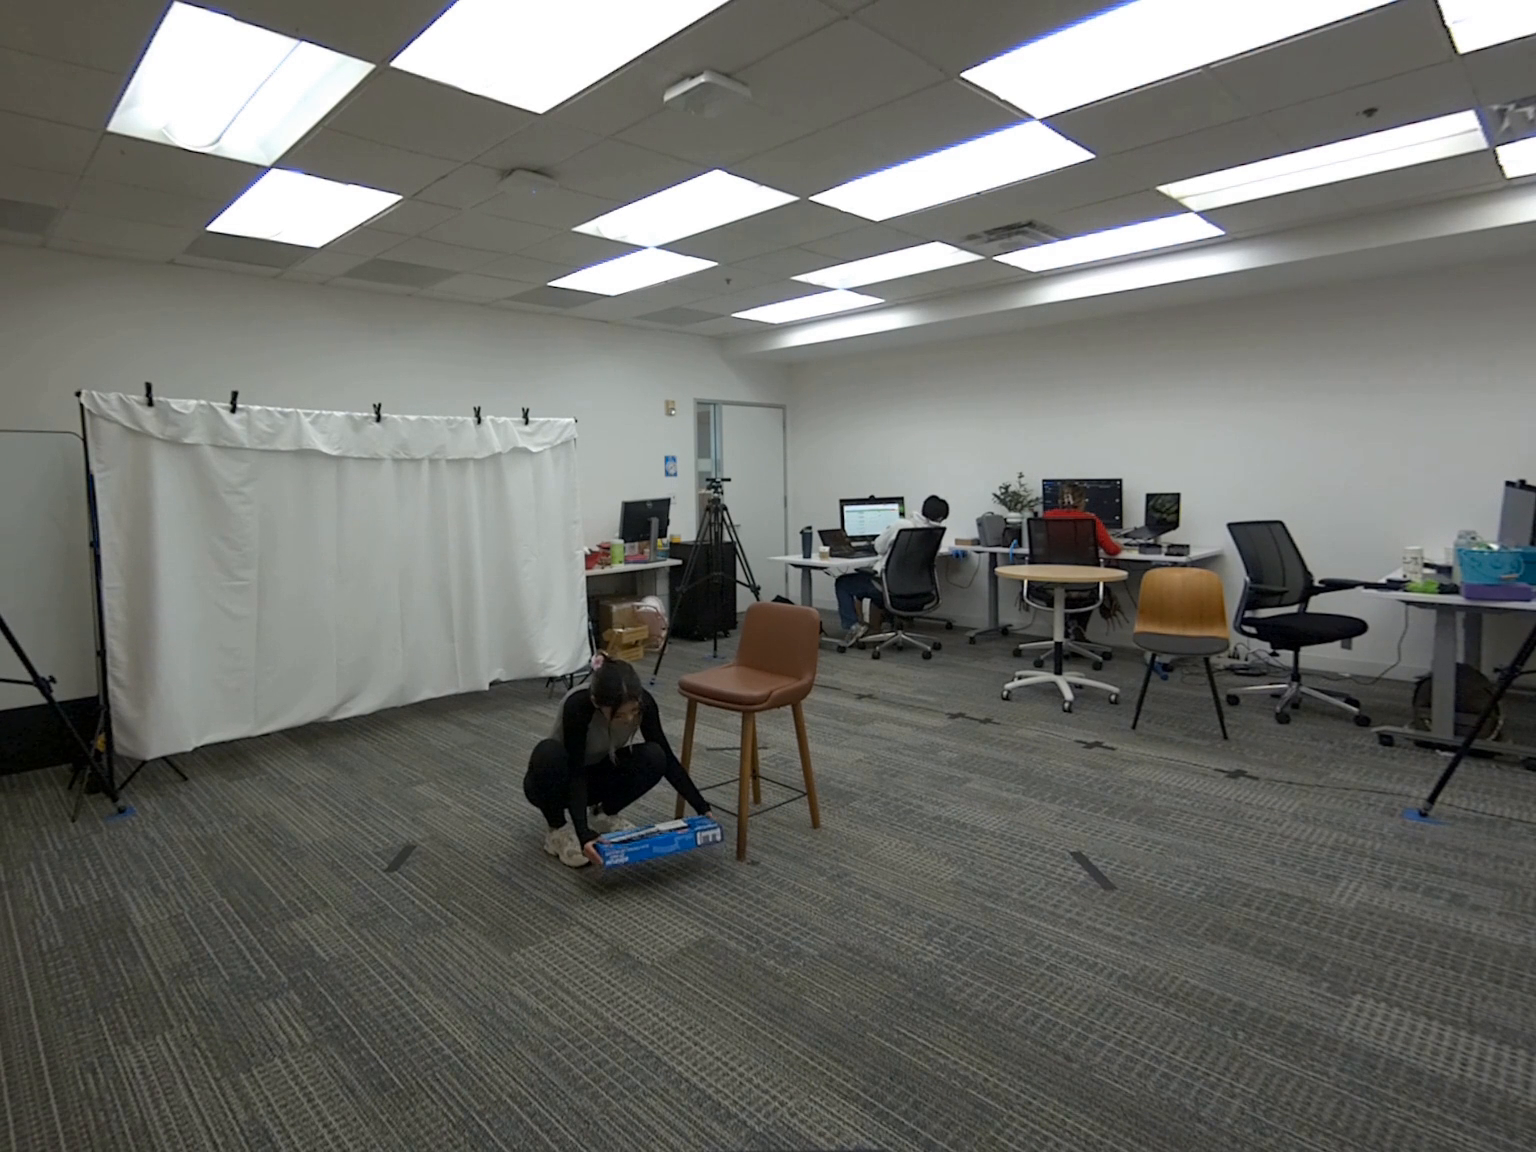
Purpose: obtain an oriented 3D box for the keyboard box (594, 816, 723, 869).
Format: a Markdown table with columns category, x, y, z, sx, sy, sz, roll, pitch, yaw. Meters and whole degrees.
| category | x | y | z | sx | sy | sz | roll | pitch | yaw |
| --- | --- | --- | --- | --- | --- | --- | --- | --- | --- |
| keyboard box | -0.387 | 0.918 | 2.975 | 0.427 | 0.059 | 0.179 | -3 | -1 | -26 |
